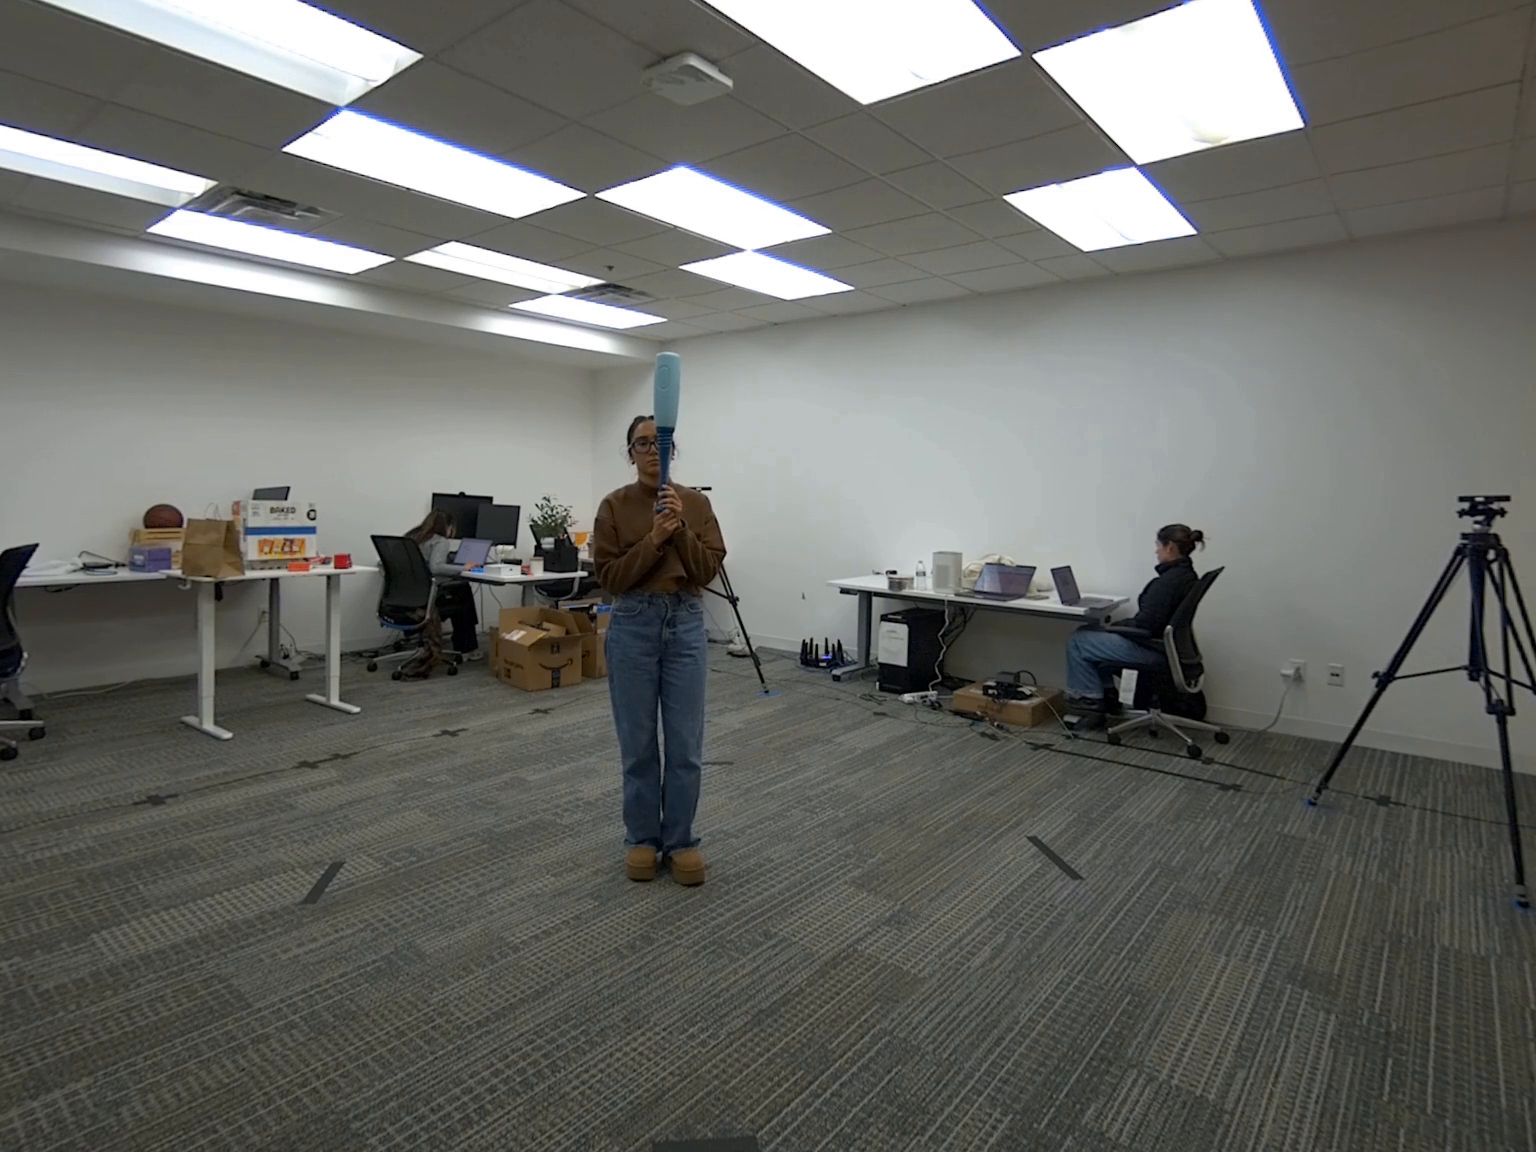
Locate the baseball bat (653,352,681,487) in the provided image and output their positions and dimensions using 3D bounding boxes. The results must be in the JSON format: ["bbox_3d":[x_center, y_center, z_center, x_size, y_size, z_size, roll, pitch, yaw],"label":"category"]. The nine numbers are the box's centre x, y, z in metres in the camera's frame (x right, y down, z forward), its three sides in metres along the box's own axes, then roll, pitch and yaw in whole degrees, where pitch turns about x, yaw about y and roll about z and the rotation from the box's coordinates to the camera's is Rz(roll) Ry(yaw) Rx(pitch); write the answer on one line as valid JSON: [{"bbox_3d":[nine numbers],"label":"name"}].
[{"bbox_3d":[-0.372,-0.494,2.891,0.089,0.542,0.089,8,2,-2],"label":"baseball bat"}]
